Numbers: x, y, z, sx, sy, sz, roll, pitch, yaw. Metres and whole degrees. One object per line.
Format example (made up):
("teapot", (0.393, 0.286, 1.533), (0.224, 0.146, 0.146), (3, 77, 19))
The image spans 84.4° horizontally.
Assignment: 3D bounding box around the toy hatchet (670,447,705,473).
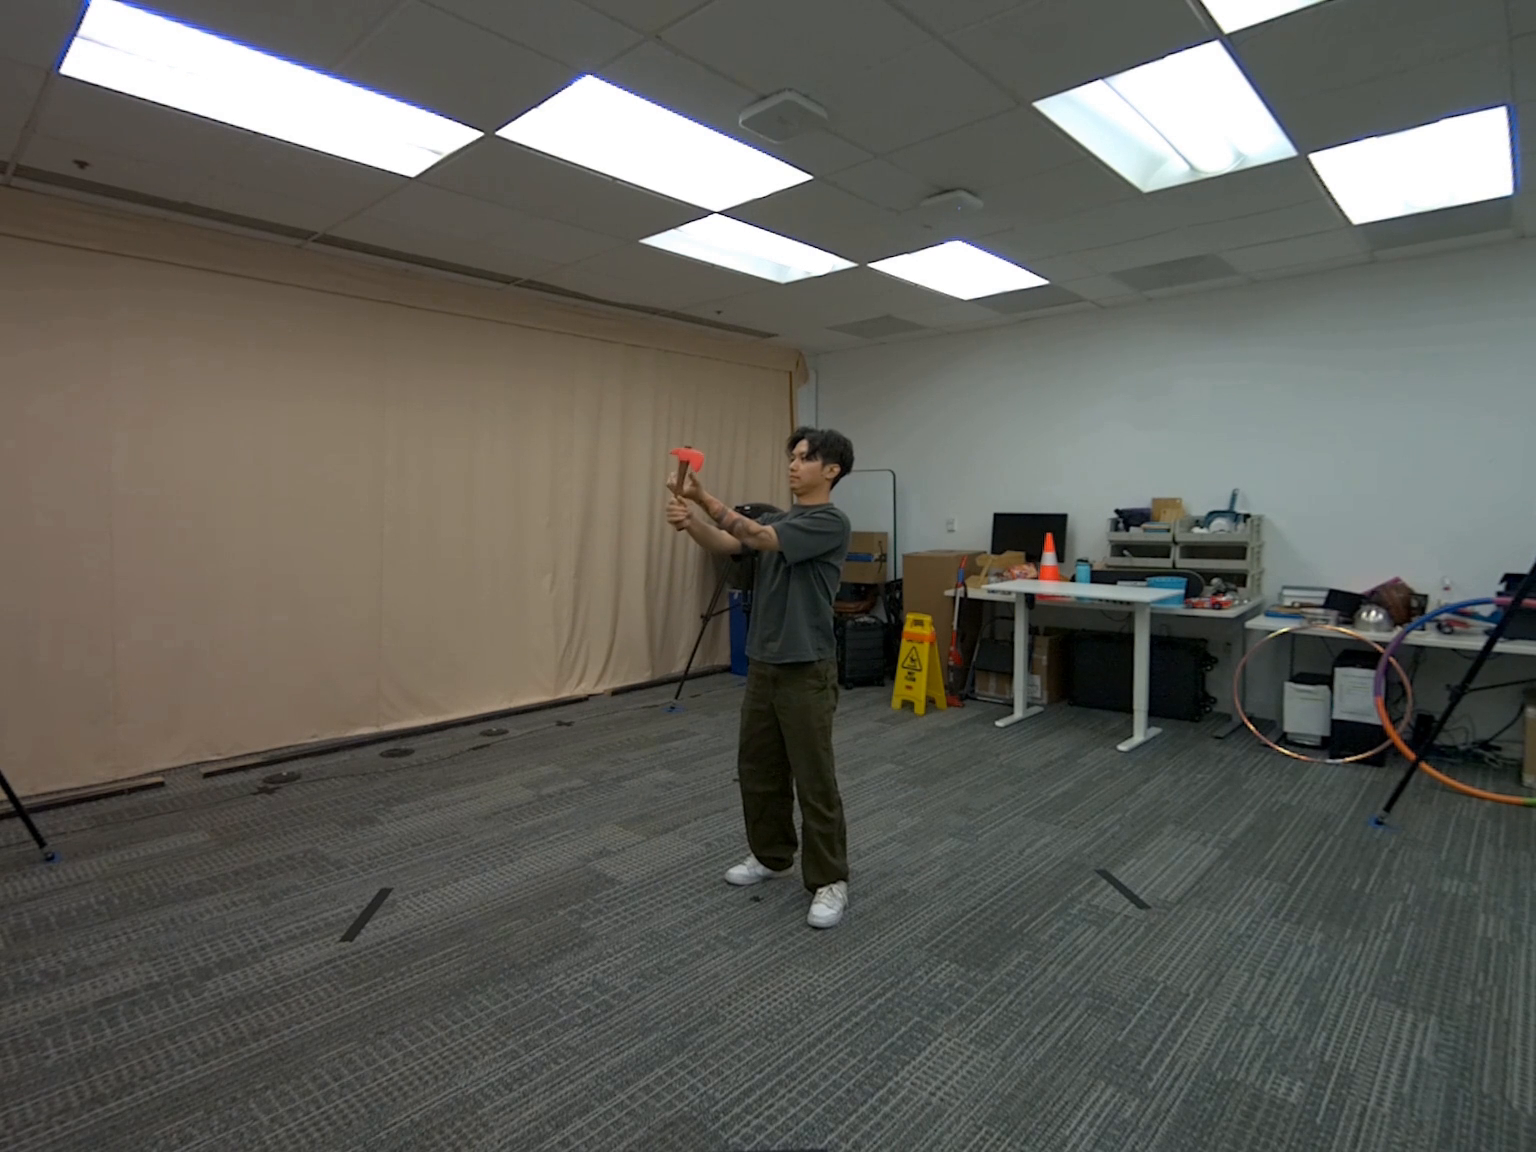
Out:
("toy hatchet", (-0.245, -0.281, 2.689), (0.134, 0.271, 0.029), (-8, -8, 28))
